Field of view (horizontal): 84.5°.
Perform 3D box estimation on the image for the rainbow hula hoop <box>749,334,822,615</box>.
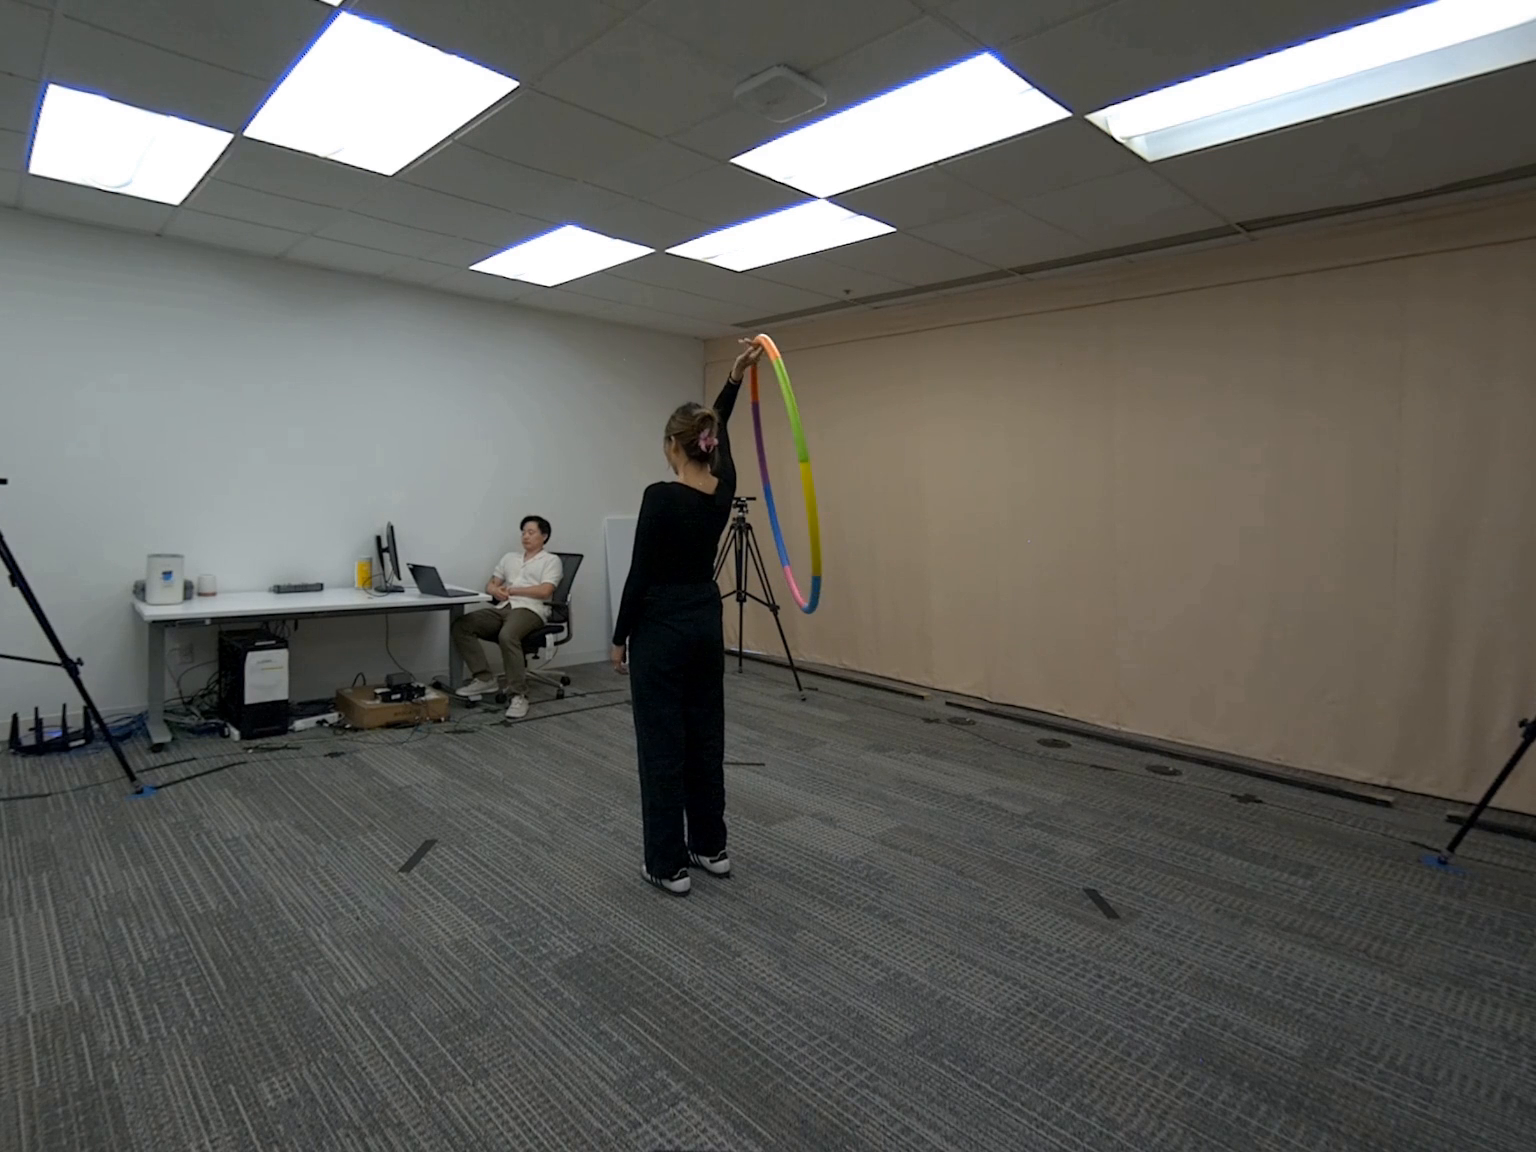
[{"bbox_3d":[0.035,-0.359,2.994,0.051,0.981,0.993,-10,5,-6],"label":"rainbow hula hoop"}]
